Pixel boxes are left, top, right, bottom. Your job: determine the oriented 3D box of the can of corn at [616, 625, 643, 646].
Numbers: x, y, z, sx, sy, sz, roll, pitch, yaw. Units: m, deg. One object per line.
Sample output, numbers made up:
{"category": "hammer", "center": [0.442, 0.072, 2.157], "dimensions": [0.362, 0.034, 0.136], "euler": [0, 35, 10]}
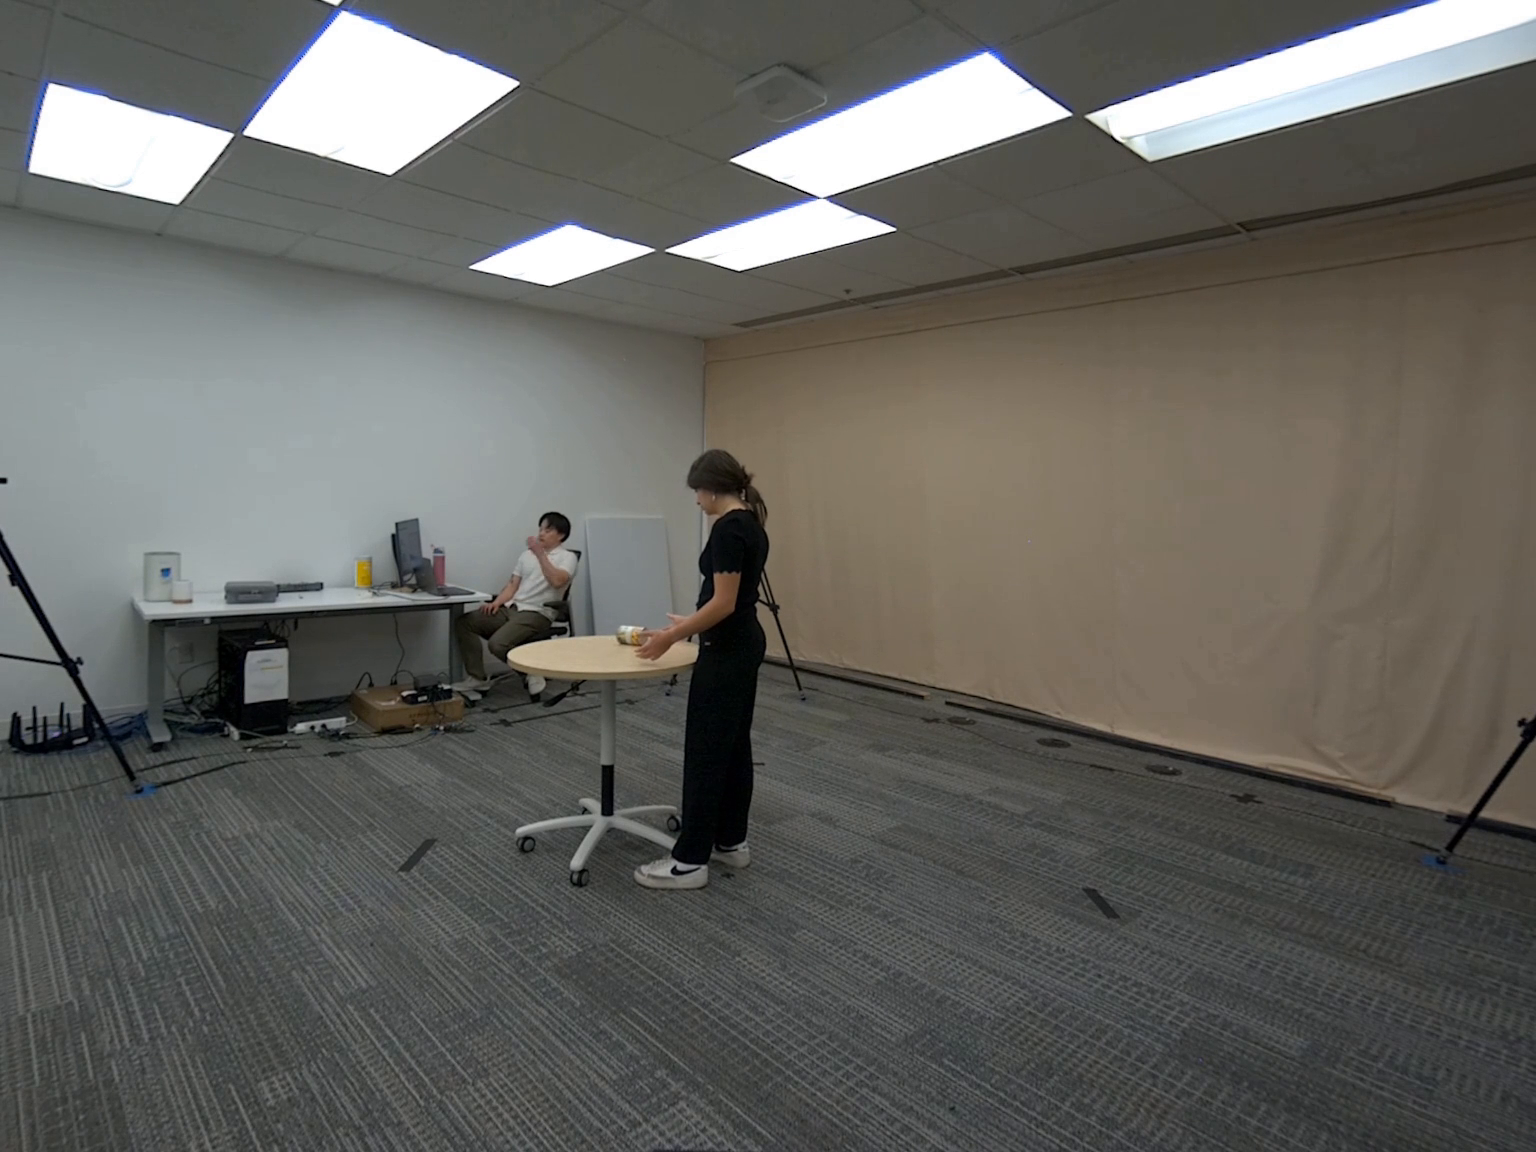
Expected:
{"category": "can of corn", "center": [-0.559, 0.239, 3.446], "dimensions": [0.113, 0.074, 0.073], "euler": [2, 4, 23]}
